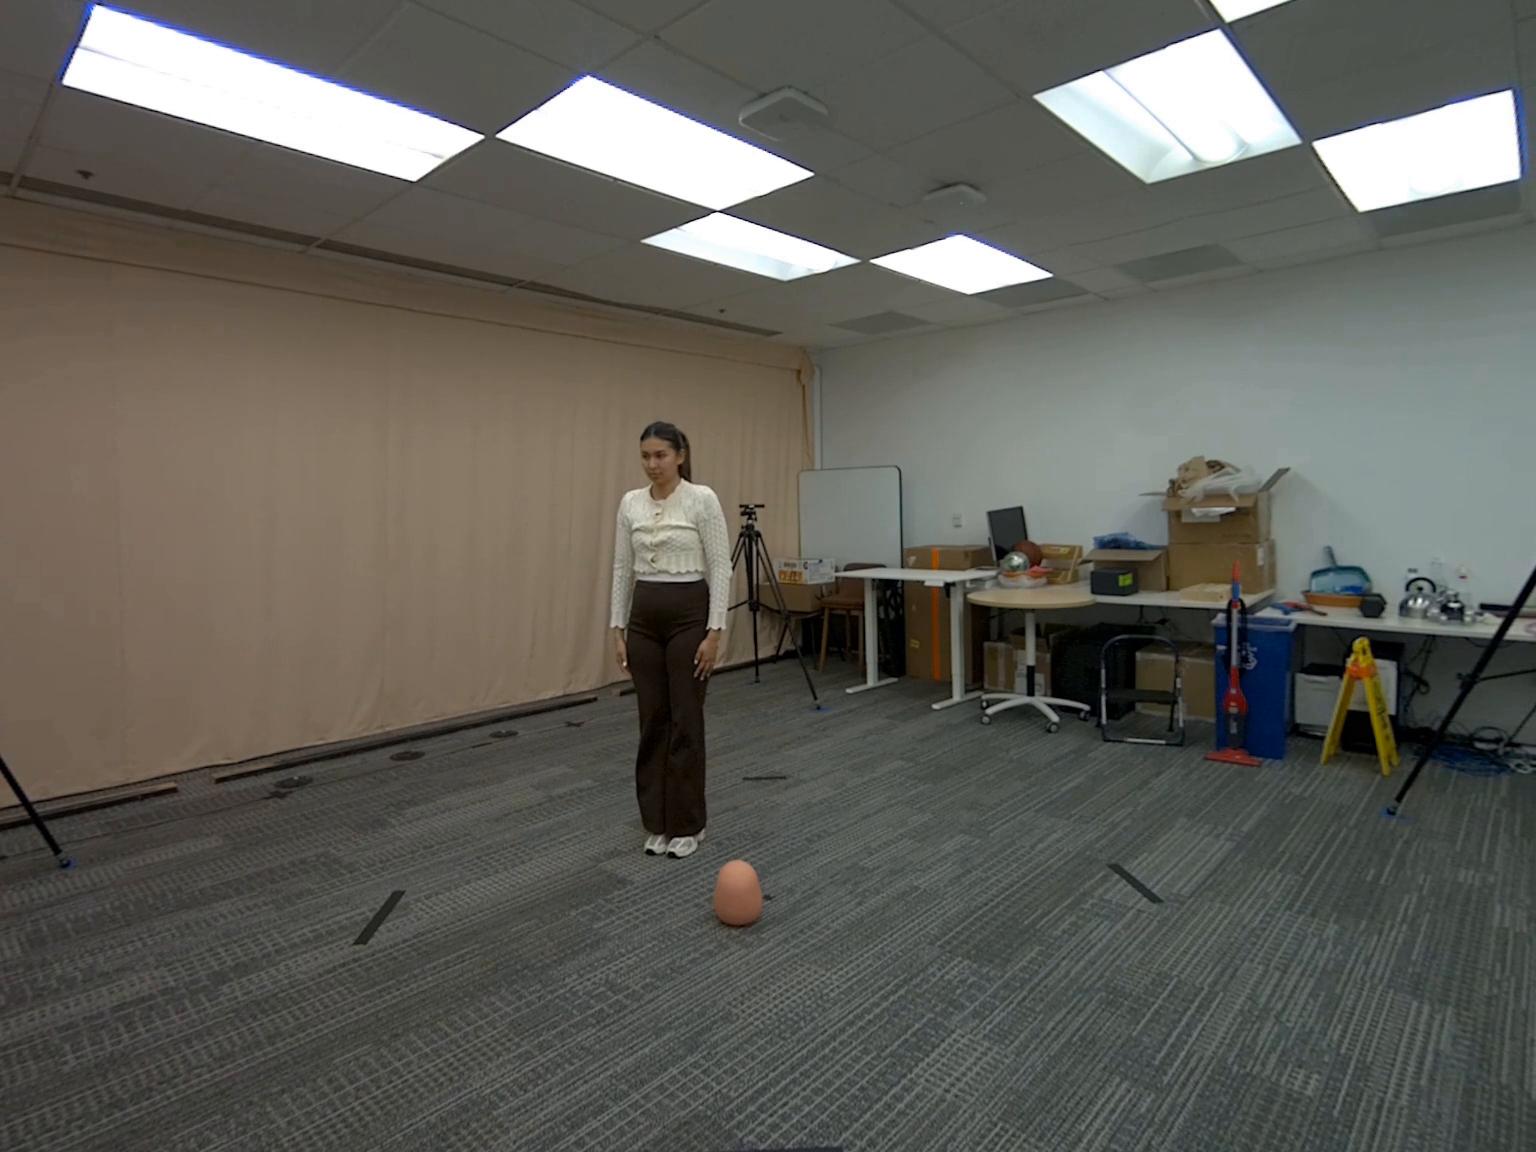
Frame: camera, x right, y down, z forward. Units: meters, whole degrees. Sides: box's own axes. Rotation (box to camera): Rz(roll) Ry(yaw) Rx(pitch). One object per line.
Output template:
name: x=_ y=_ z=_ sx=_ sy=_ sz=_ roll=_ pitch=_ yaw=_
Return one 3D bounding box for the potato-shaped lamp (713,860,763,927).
potato-shaped lamp: x=-0.097 y=1.056 z=2.822 sx=0.166 sy=0.197 sz=0.170 roll=0 pitch=4 yaw=7
